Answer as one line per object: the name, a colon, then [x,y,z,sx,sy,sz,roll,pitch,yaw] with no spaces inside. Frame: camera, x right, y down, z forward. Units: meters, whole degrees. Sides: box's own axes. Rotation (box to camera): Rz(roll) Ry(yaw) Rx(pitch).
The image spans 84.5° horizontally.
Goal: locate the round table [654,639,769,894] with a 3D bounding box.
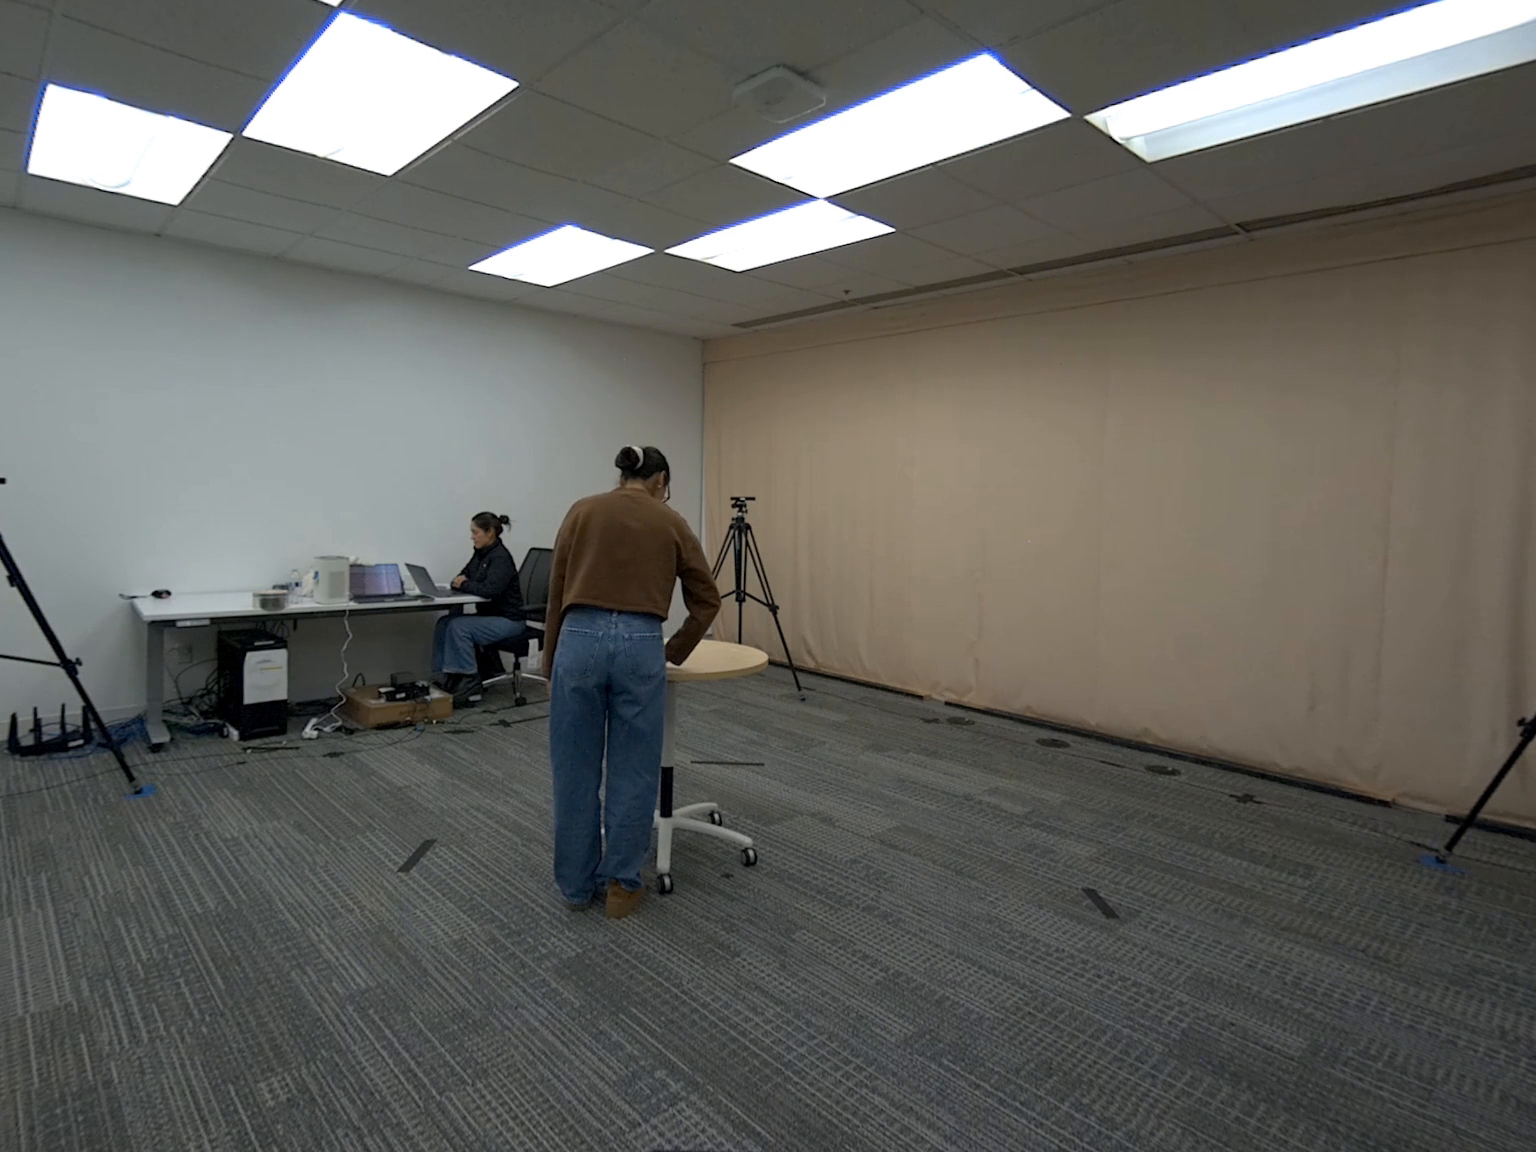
round table: [-0.399,0.699,3.295,0.763,0.792,0.766,1,4,-1]
